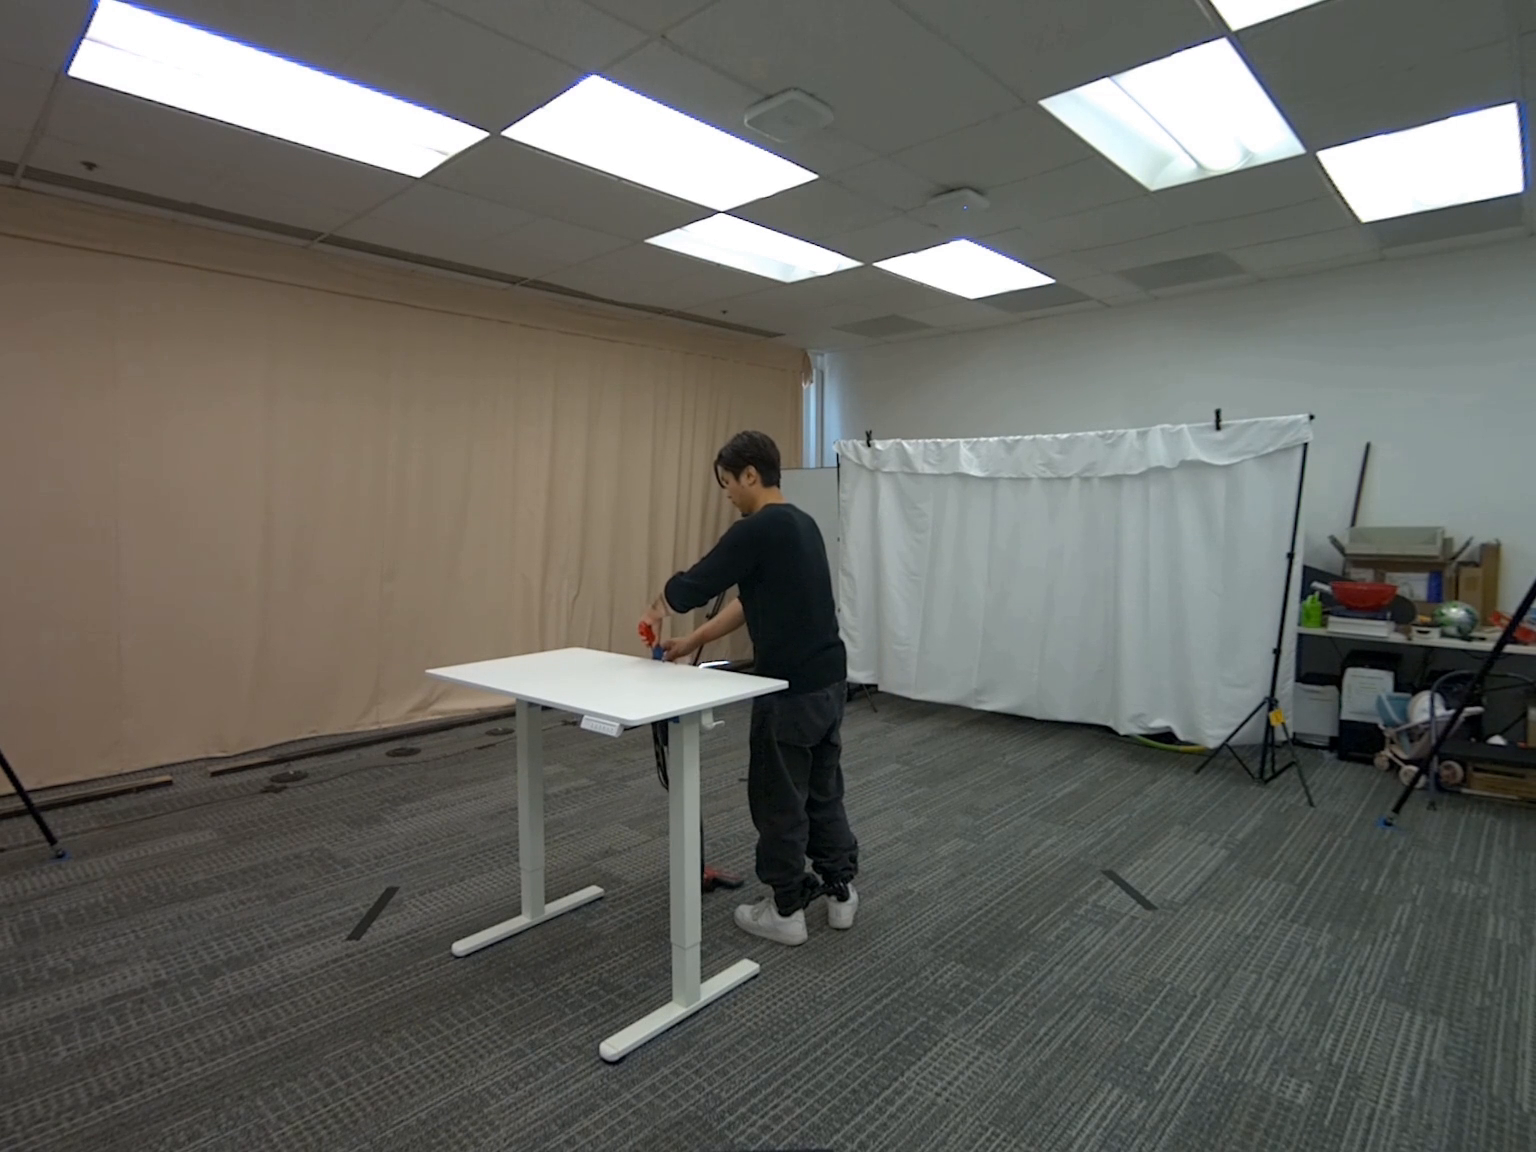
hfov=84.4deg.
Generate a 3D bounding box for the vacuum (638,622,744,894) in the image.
[{"bbox_3d":[-0.317,0.658,2.955,0.260,1.033,0.142,0,22,30],"label":"vacuum"}]
